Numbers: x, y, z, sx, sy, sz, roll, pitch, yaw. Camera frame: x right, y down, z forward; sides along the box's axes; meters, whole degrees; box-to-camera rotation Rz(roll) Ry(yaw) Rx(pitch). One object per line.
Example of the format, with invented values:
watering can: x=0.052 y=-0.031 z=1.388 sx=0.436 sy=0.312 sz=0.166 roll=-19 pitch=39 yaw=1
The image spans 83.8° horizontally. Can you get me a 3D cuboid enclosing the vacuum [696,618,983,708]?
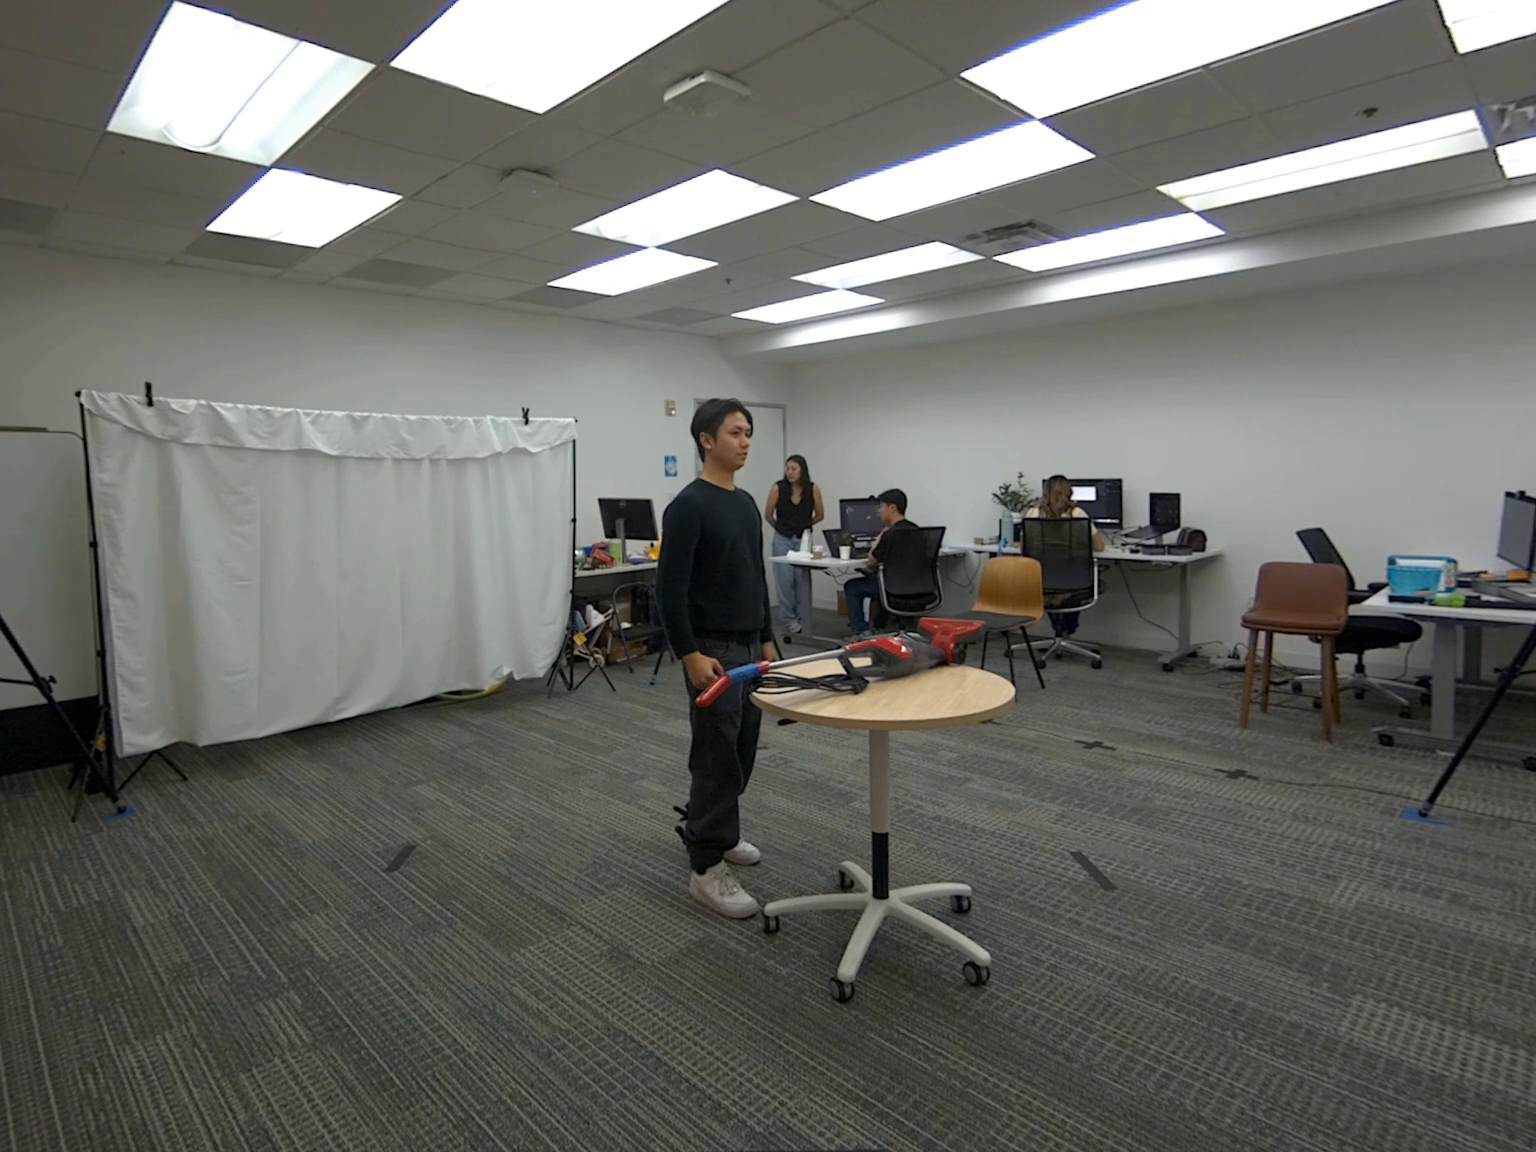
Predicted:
vacuum: x=0.214 y=0.273 z=2.467 sx=1.023 sy=0.143 sz=0.260 roll=-7 pitch=7 yaw=-39
